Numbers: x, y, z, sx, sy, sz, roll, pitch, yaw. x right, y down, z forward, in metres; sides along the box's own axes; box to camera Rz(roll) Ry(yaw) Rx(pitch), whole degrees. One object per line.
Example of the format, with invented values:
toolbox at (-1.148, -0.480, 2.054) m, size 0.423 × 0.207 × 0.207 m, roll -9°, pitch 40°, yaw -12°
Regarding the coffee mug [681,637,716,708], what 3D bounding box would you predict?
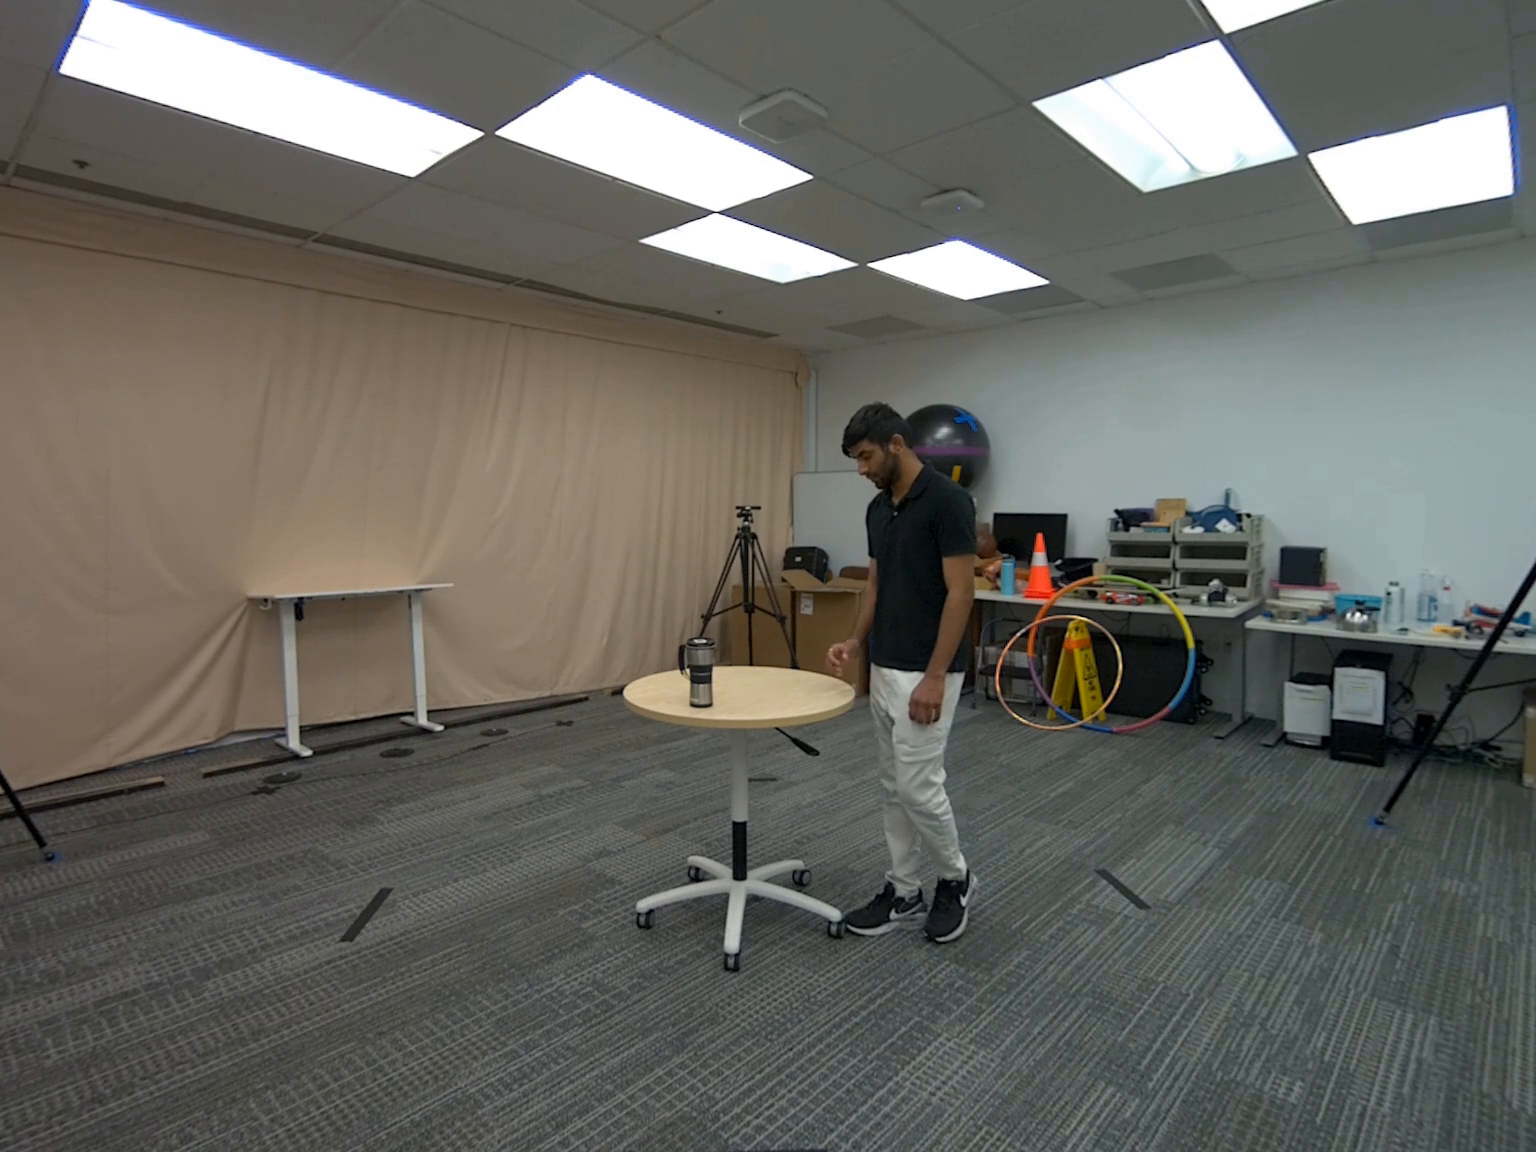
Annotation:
coffee mug at (-0.209, 0.299, 2.594) m, size 0.085 × 0.202 × 0.126 m, roll -4°, pitch 8°, yaw -29°
